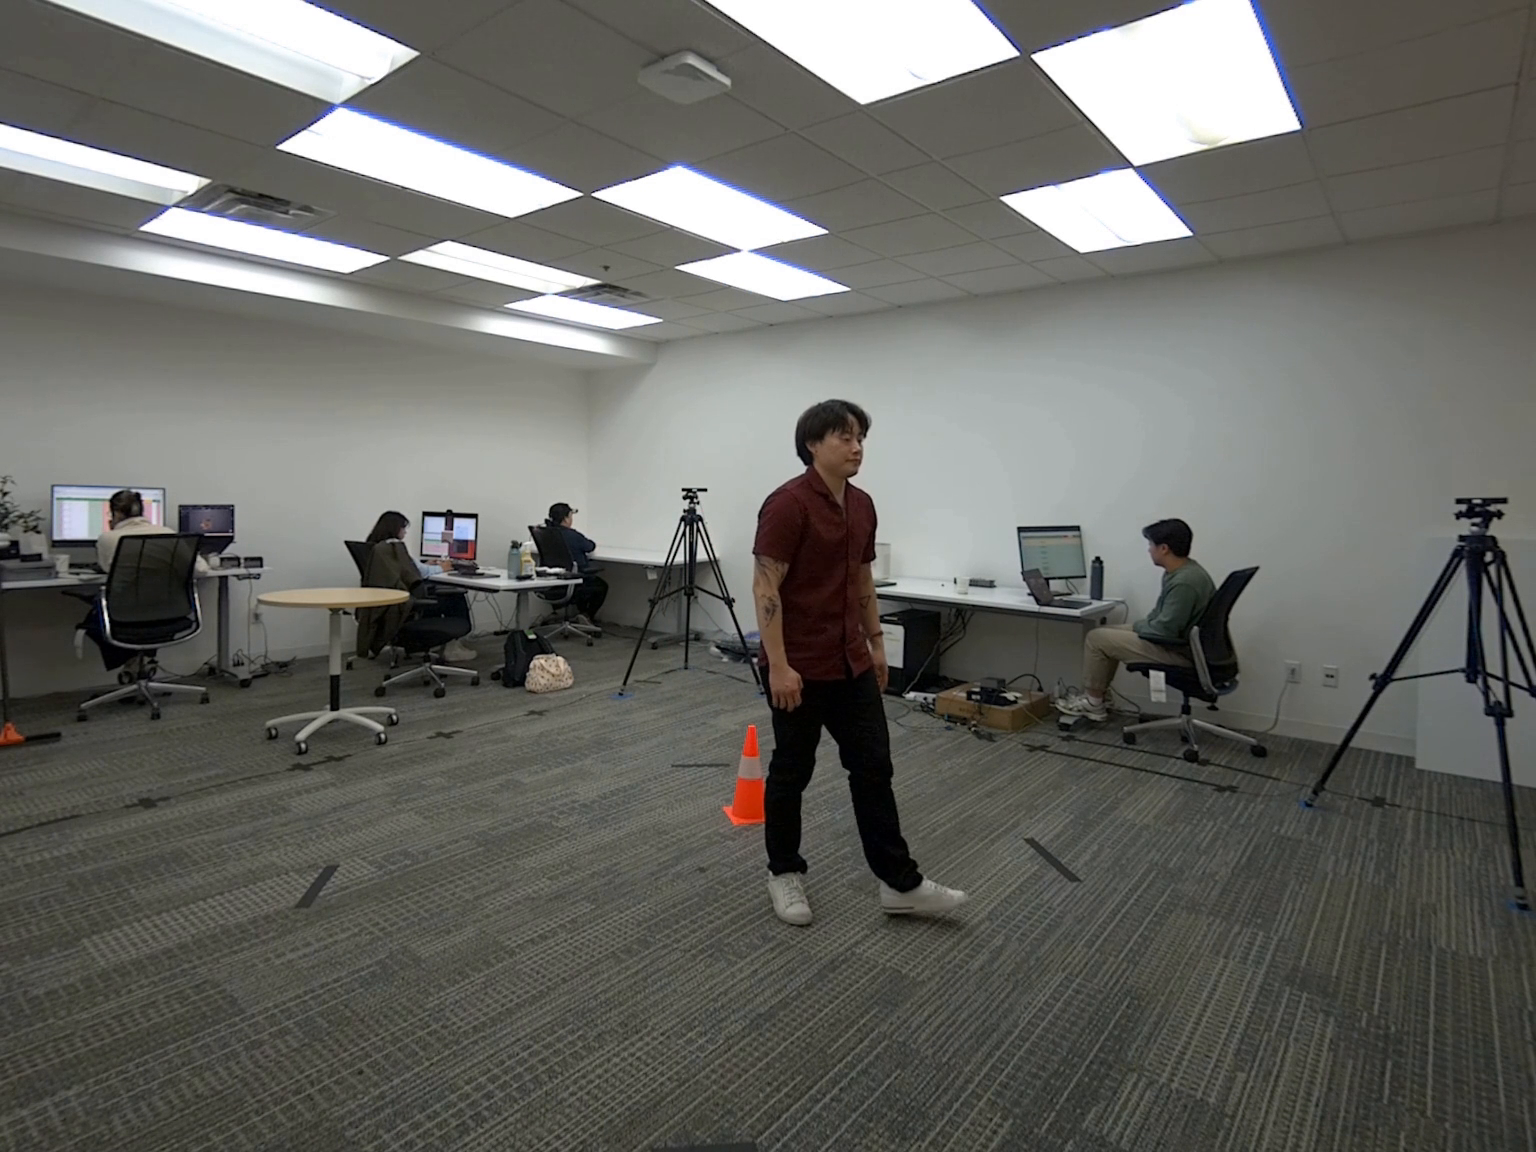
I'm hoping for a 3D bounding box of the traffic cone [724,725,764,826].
[{"bbox_3d":[-0.088,0.830,3.638,0.200,0.382,0.209,-1,4,-17],"label":"traffic cone"}]
